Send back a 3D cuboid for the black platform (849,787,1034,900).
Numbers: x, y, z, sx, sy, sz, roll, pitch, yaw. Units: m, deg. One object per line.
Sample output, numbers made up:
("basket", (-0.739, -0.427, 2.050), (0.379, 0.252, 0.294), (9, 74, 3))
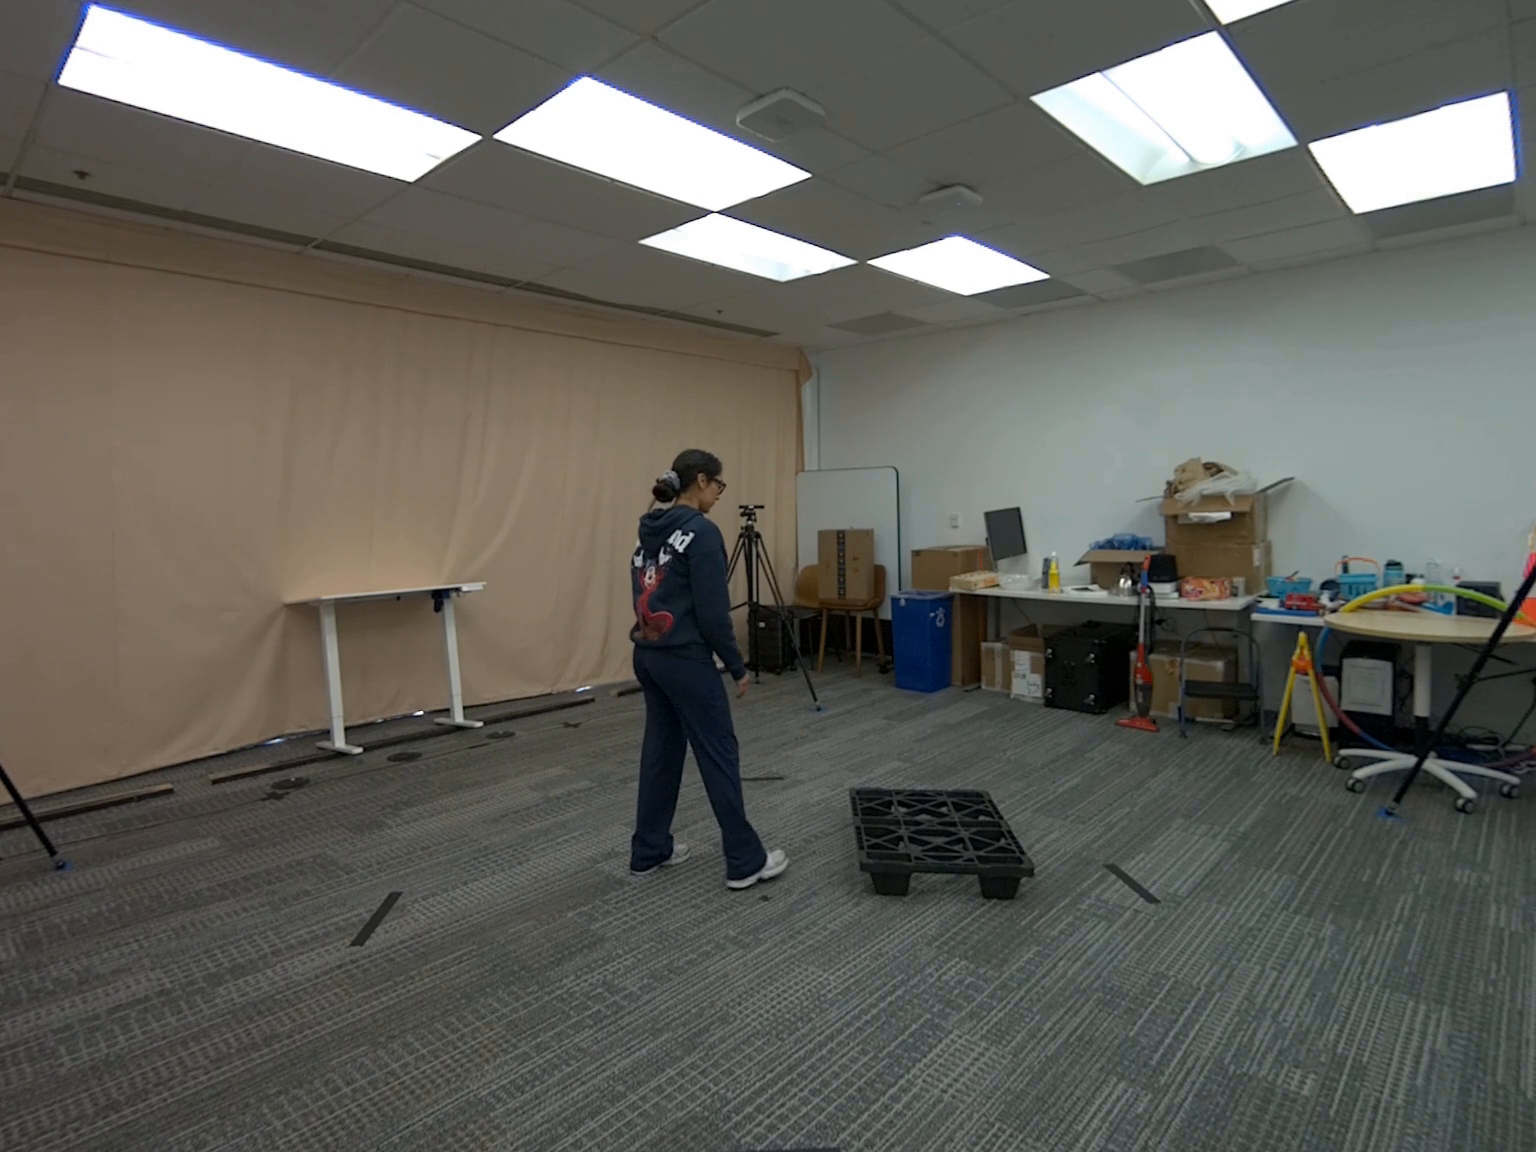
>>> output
("black platform", (0.646, 1.033, 3.316), (0.609, 0.143, 0.803), (0, 5, 4))
